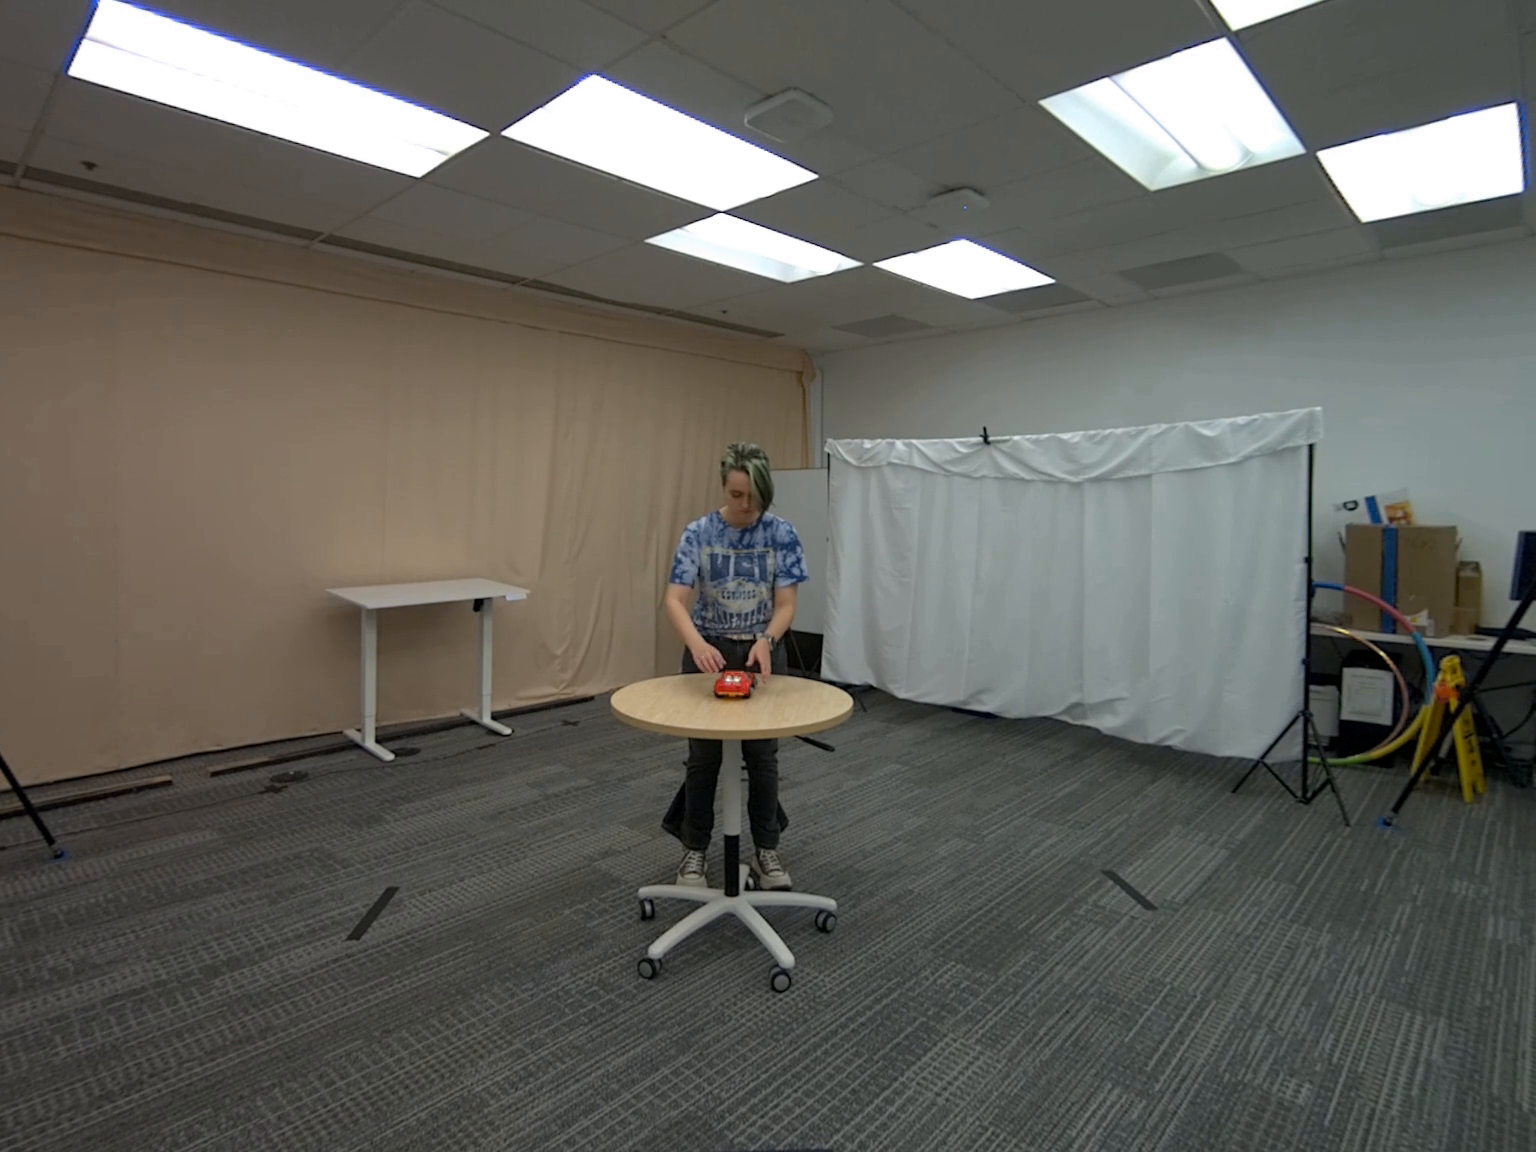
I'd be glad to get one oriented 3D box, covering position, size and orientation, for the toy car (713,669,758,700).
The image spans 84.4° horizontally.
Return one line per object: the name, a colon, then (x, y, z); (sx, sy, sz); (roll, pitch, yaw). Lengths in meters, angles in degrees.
toy car: (-0.109, 0.349, 2.724); (0.131, 0.083, 0.252); (0, -6, 4)
